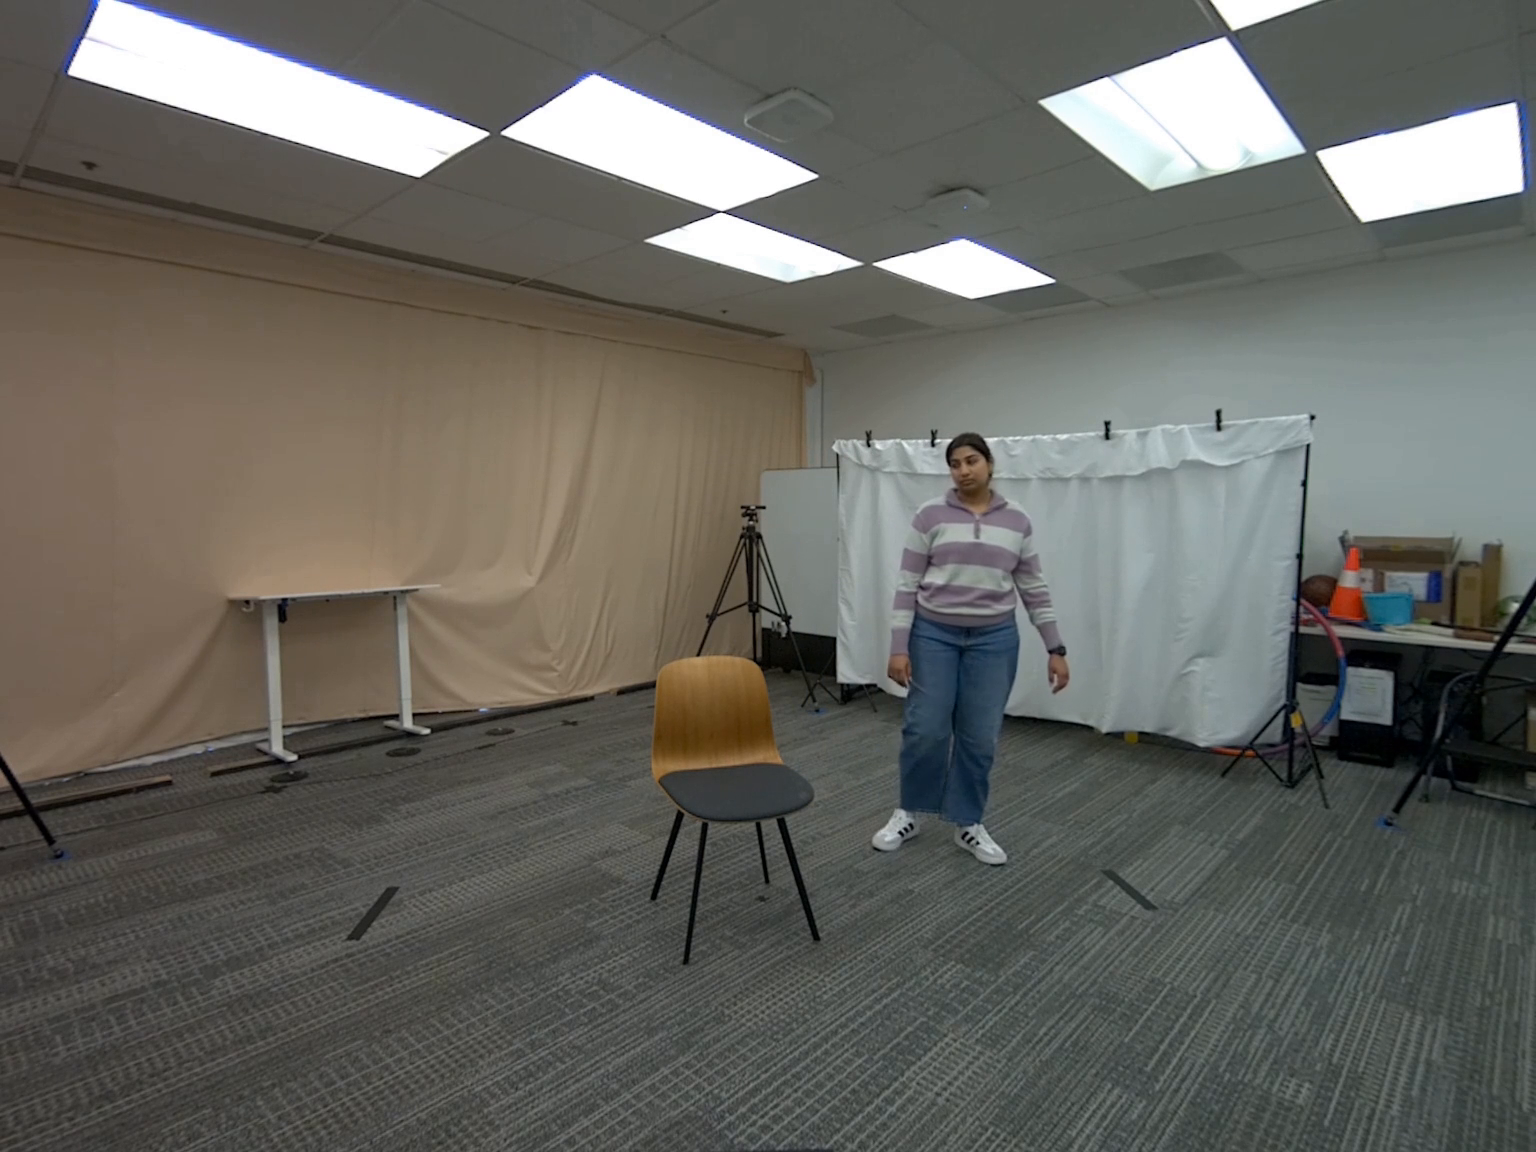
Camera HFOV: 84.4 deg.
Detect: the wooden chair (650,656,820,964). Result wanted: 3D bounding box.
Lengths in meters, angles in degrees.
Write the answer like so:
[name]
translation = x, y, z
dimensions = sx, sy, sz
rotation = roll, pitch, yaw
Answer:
[wooden chair]
translation = -0.119, 0.733, 2.796
dimensions = 0.469, 0.878, 0.533
rotation = -1, -1, -20
